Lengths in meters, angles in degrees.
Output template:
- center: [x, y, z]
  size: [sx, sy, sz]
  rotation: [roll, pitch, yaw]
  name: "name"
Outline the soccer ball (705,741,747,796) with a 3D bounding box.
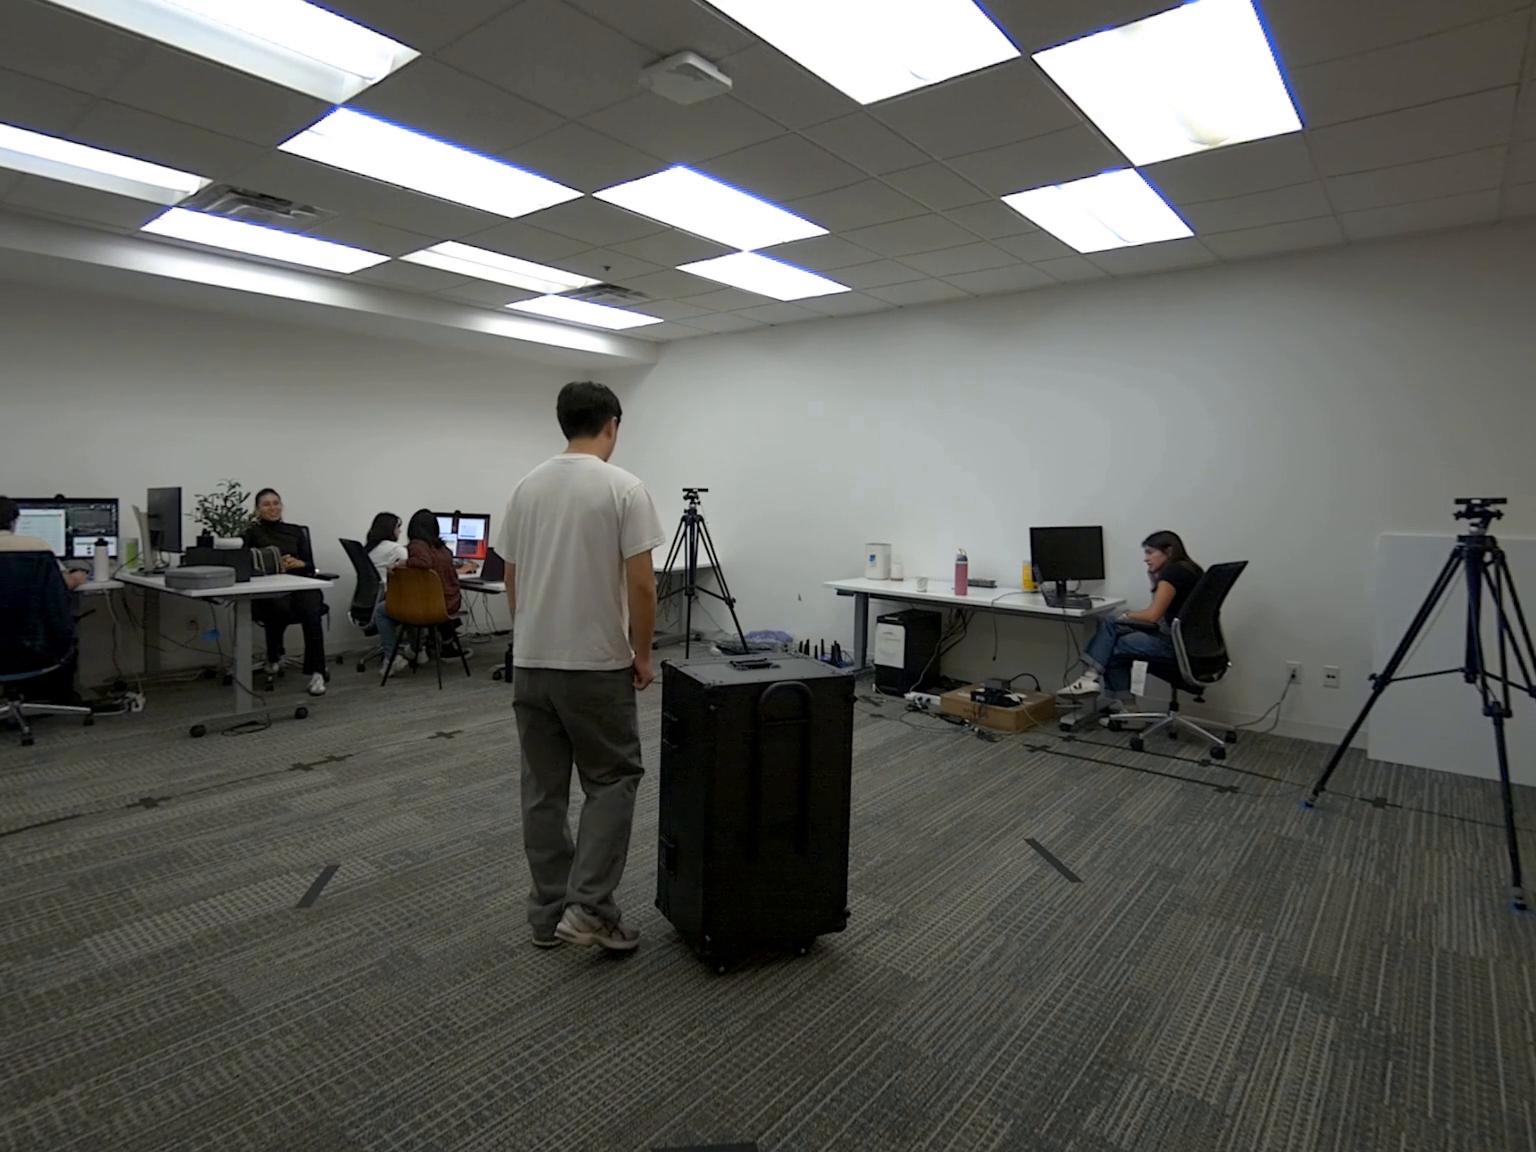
- center: [-0.198, 0.887, 3.898]
  size: [0.187, 0.187, 0.188]
  rotation: [1, 4, -2]
  name: "soccer ball"
